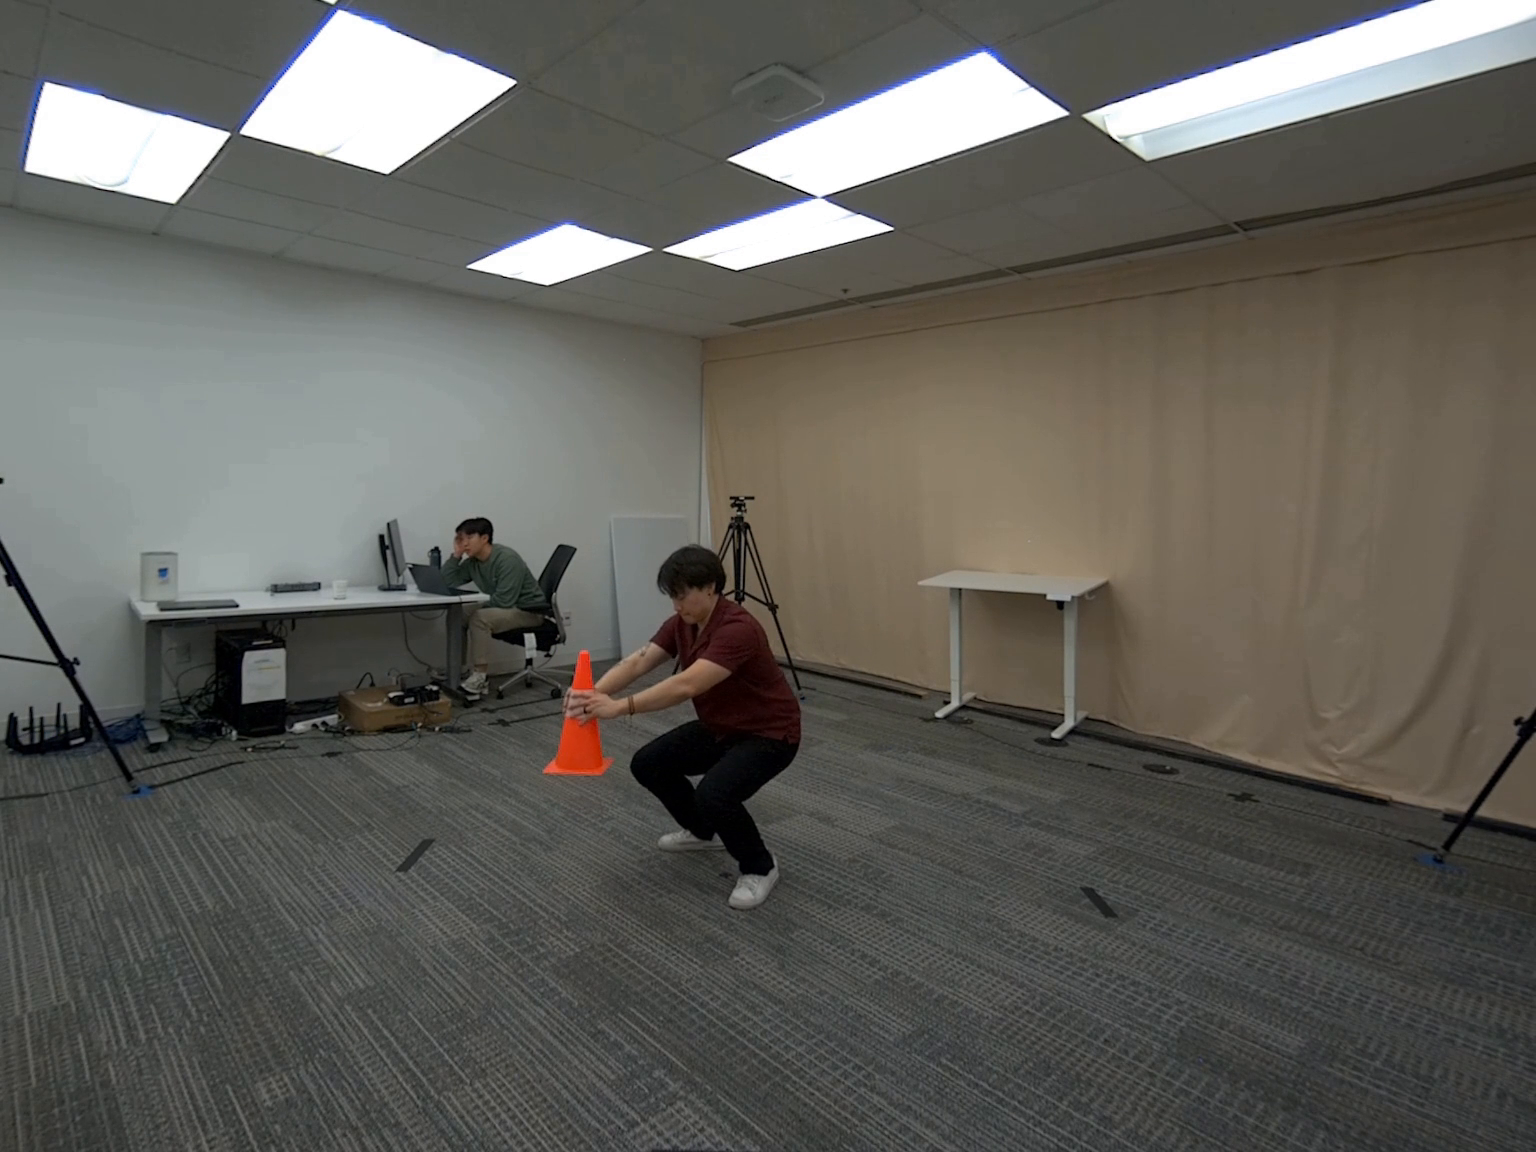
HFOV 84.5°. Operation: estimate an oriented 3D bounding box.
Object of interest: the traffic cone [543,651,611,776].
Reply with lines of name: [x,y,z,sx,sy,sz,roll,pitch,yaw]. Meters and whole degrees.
traffic cone: [-0.630,0.442,2.805,0.206,0.384,0.202,3,0,7]
